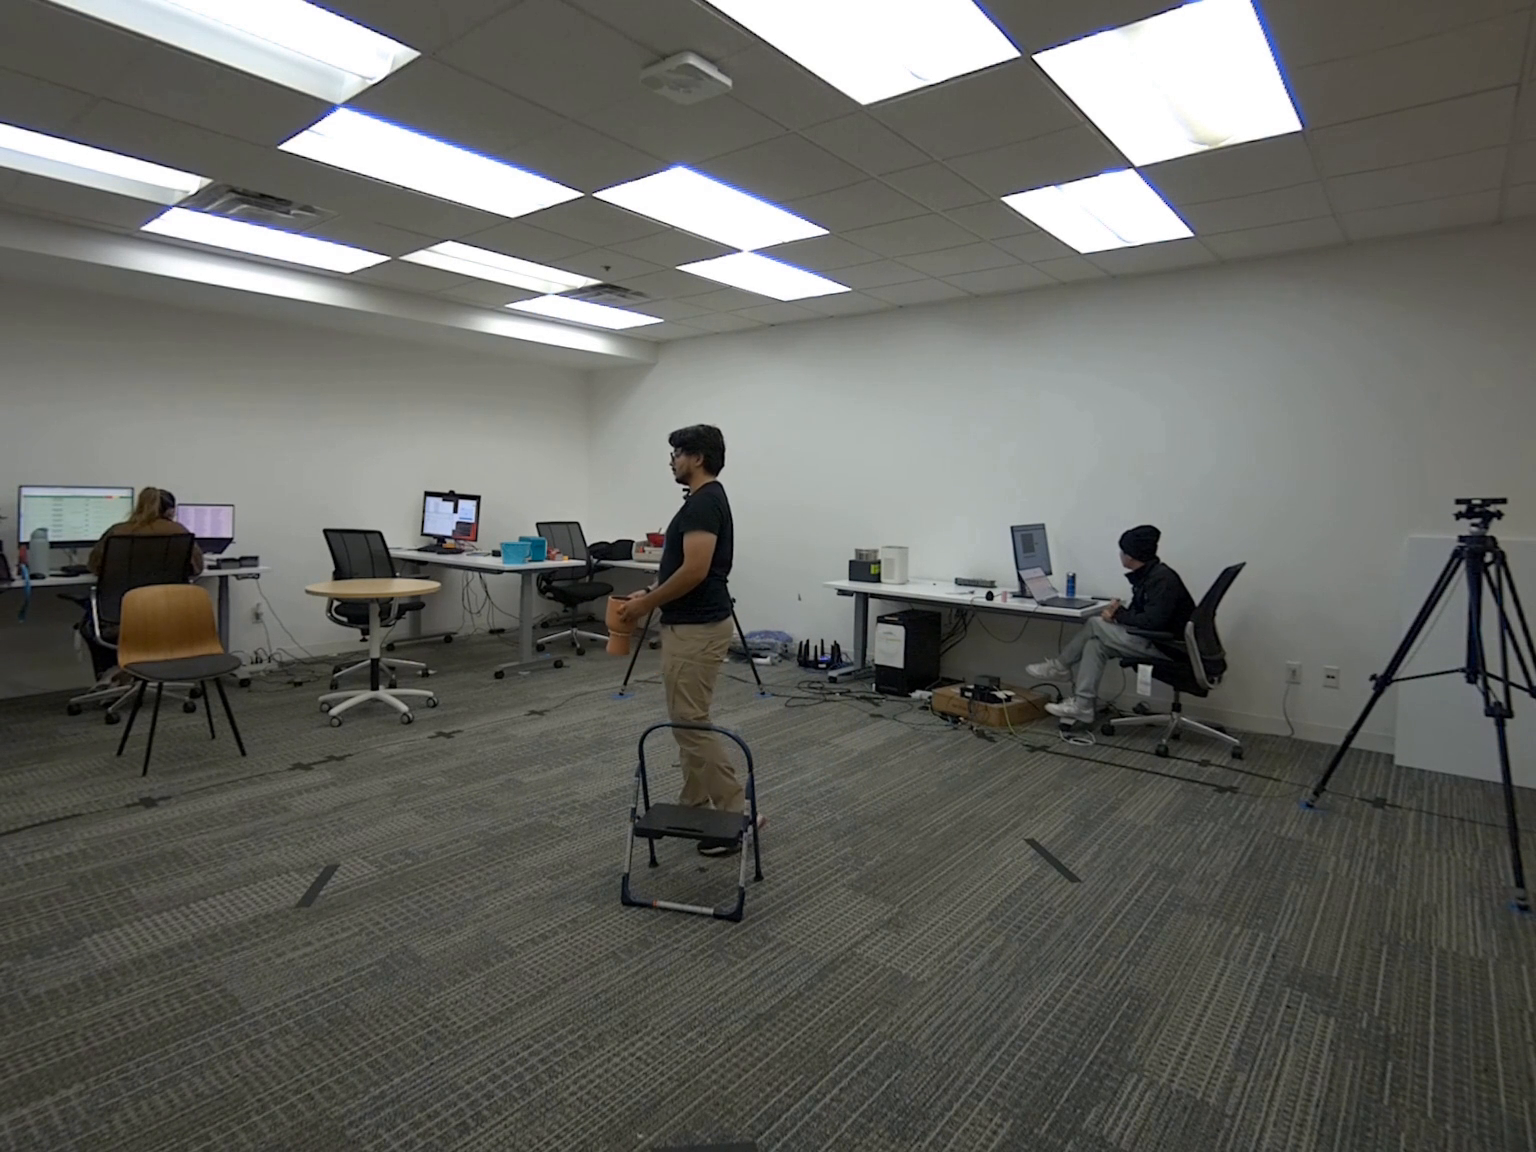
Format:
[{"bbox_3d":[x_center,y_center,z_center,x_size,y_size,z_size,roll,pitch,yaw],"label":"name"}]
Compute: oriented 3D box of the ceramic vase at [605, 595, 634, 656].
[{"bbox_3d":[-0.601,0.199,3.451,0.139,0.219,0.154,11,5,31],"label":"ceramic vase"}]
